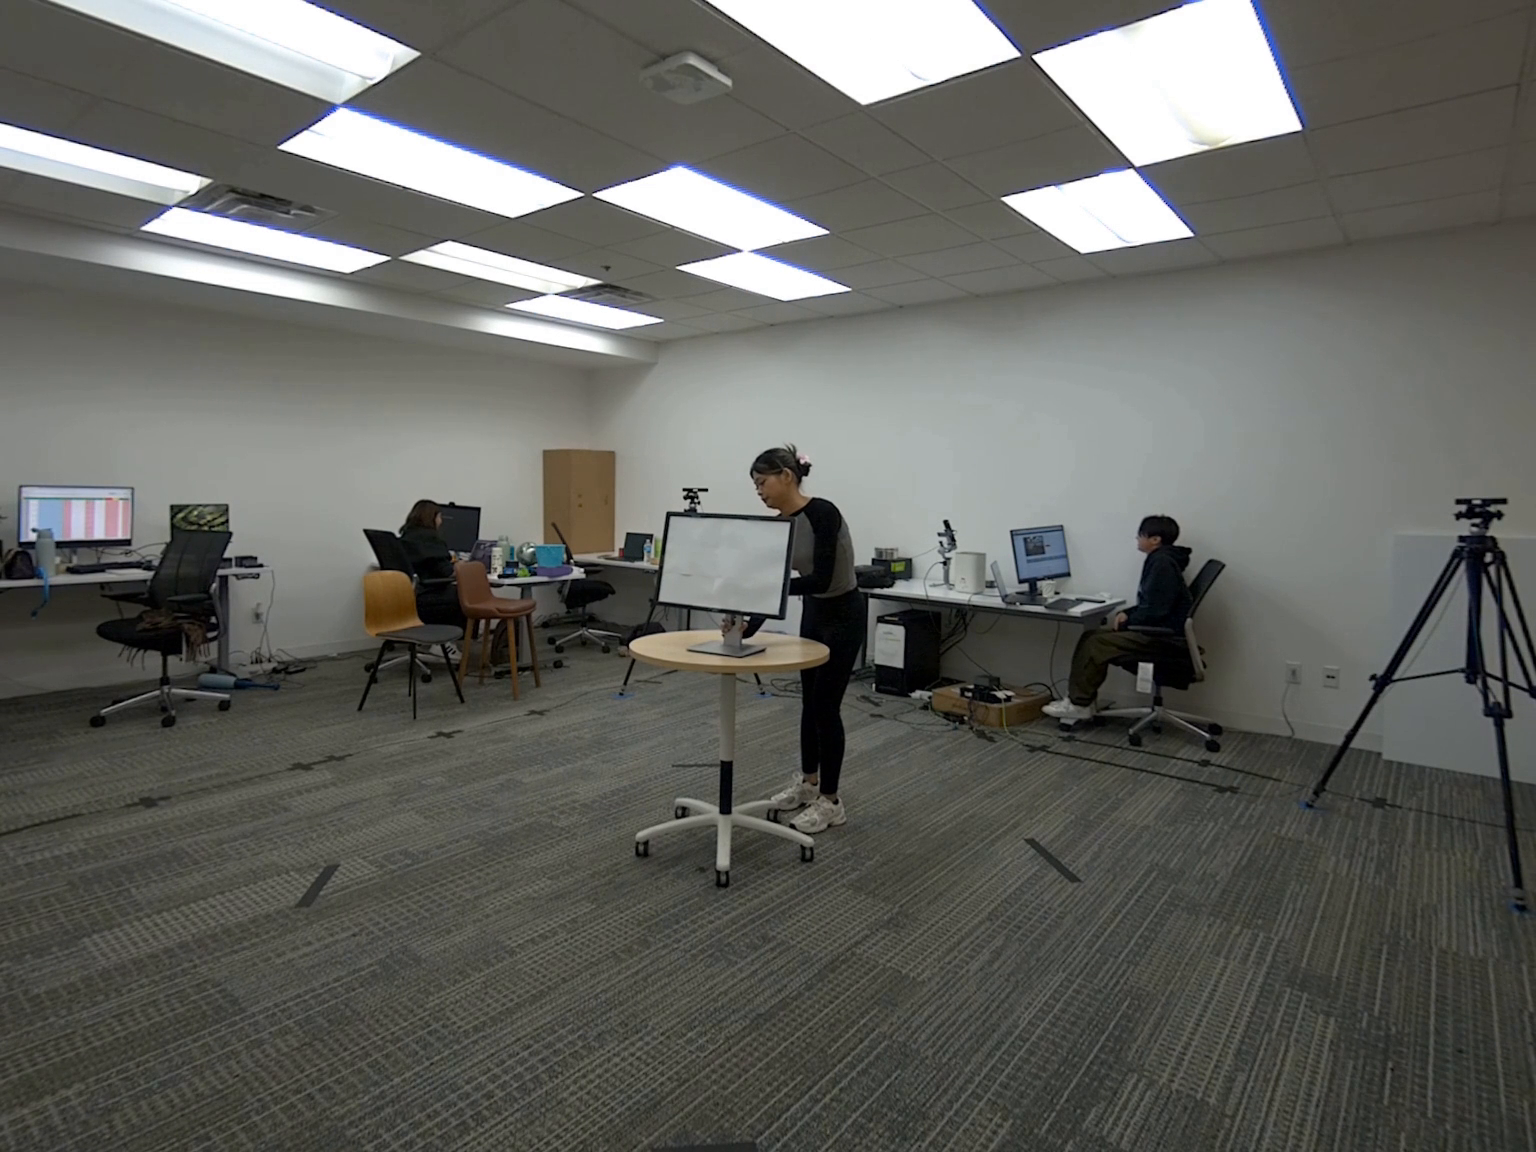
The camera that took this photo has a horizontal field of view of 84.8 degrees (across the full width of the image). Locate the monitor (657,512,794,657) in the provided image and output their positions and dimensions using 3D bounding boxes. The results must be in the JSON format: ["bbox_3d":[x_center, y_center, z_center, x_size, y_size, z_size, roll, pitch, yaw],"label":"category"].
[{"bbox_3d":[-0.156,0.030,3.154,0.555,0.519,0.183,4,7,30],"label":"monitor"}]
